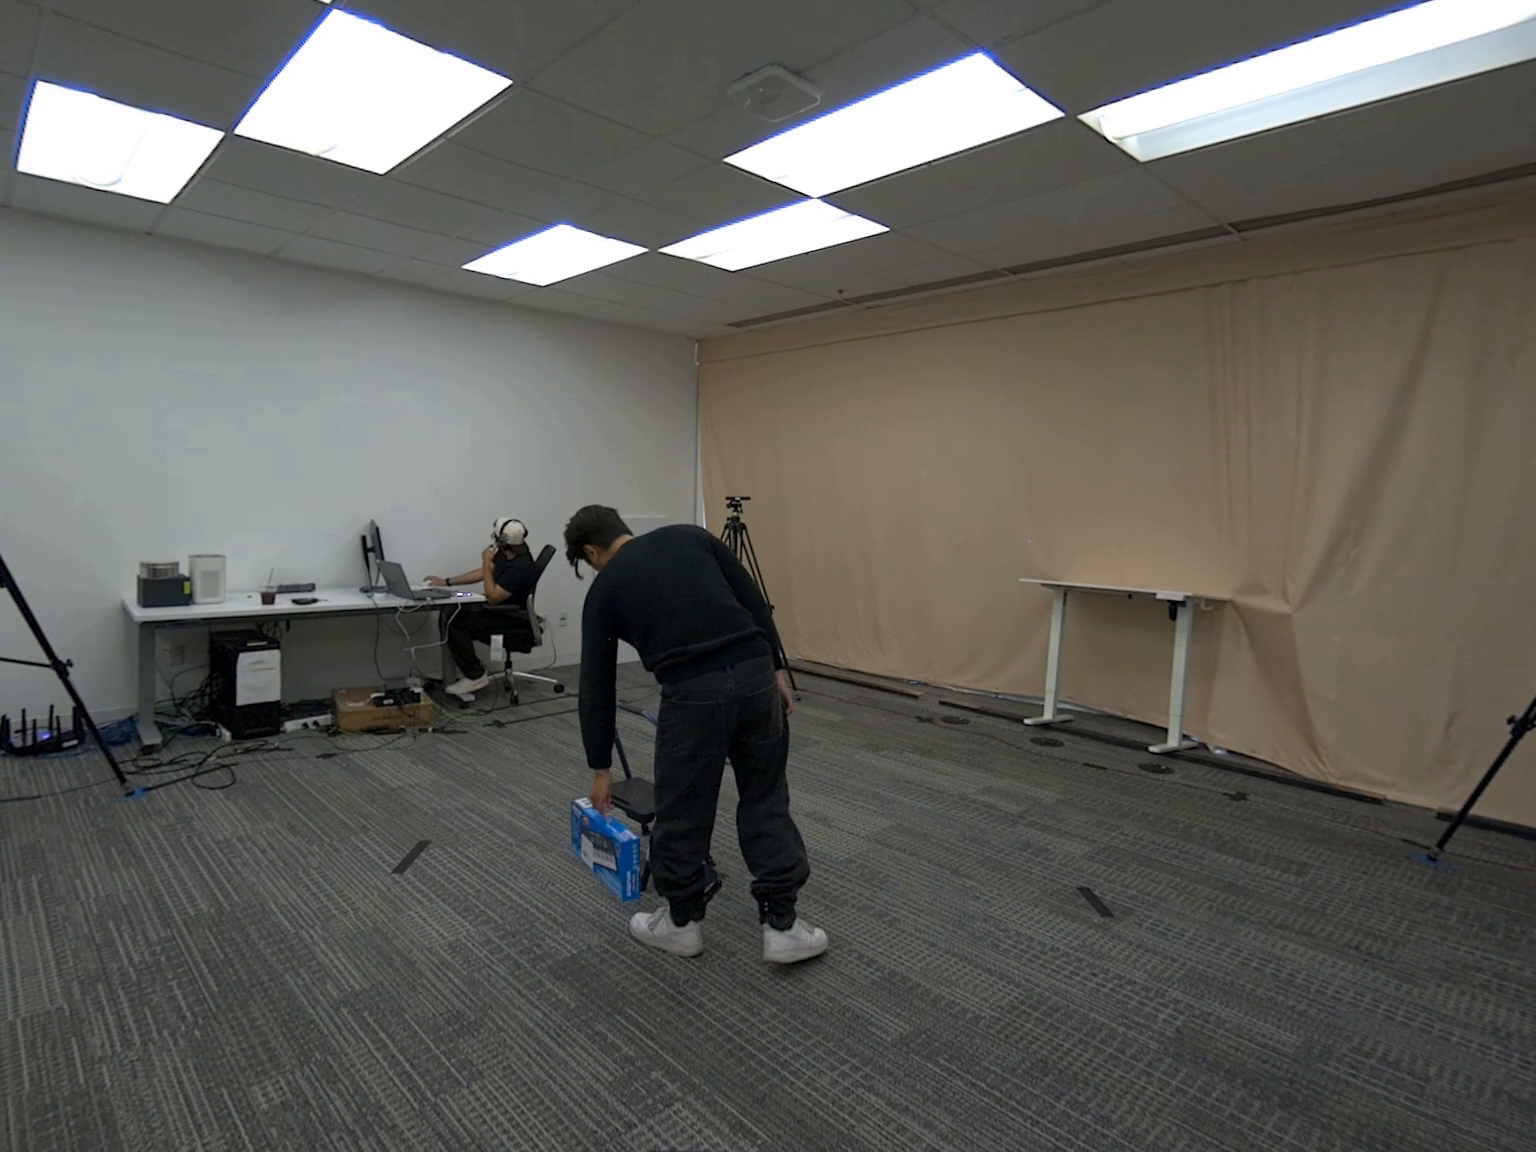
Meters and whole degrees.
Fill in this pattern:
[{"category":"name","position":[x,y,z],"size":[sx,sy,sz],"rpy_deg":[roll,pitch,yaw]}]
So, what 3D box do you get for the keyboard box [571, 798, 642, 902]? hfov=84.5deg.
[{"category":"keyboard box","position":[-0.514,0.834,2.588],"size":[0.058,0.176,0.446],"rpy_deg":[0,3,-30]}]
